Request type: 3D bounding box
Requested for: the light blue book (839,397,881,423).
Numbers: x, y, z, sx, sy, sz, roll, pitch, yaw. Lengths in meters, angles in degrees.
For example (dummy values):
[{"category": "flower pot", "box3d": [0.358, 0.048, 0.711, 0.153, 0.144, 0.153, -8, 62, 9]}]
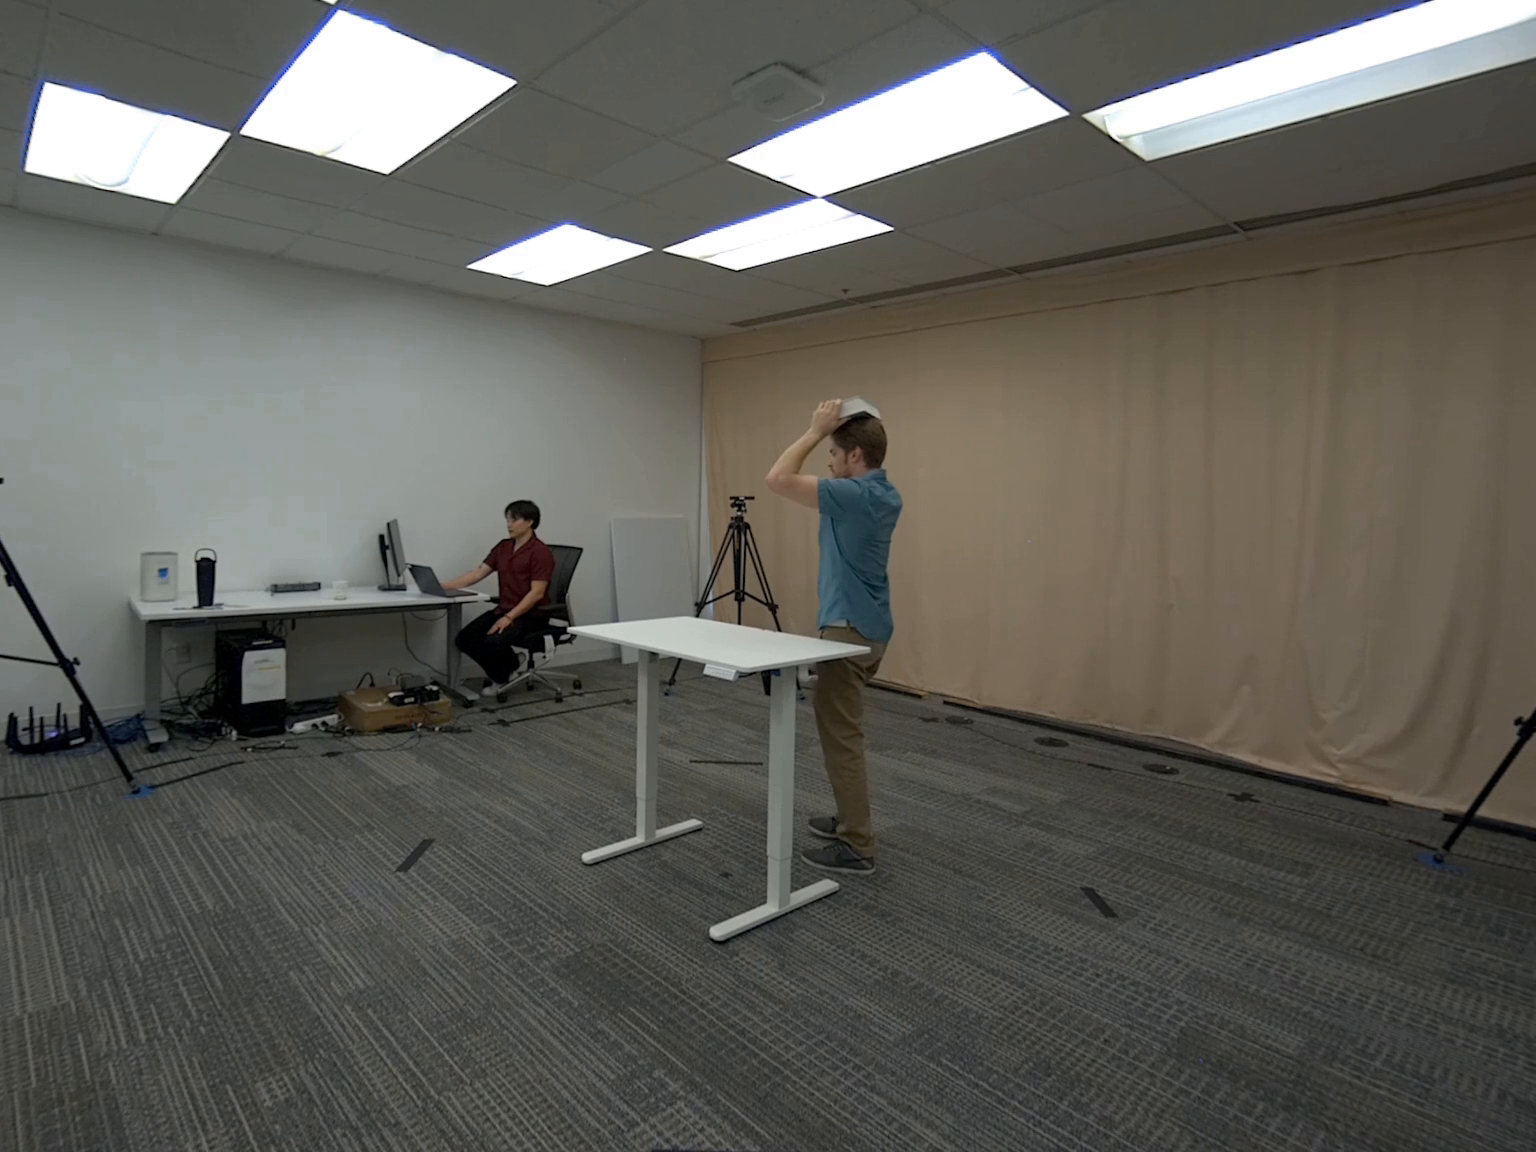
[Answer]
[{"category": "light blue book", "box3d": [0.300, -0.603, 3.199, 0.194, 0.059, 0.256, -15, -5, 23]}]
